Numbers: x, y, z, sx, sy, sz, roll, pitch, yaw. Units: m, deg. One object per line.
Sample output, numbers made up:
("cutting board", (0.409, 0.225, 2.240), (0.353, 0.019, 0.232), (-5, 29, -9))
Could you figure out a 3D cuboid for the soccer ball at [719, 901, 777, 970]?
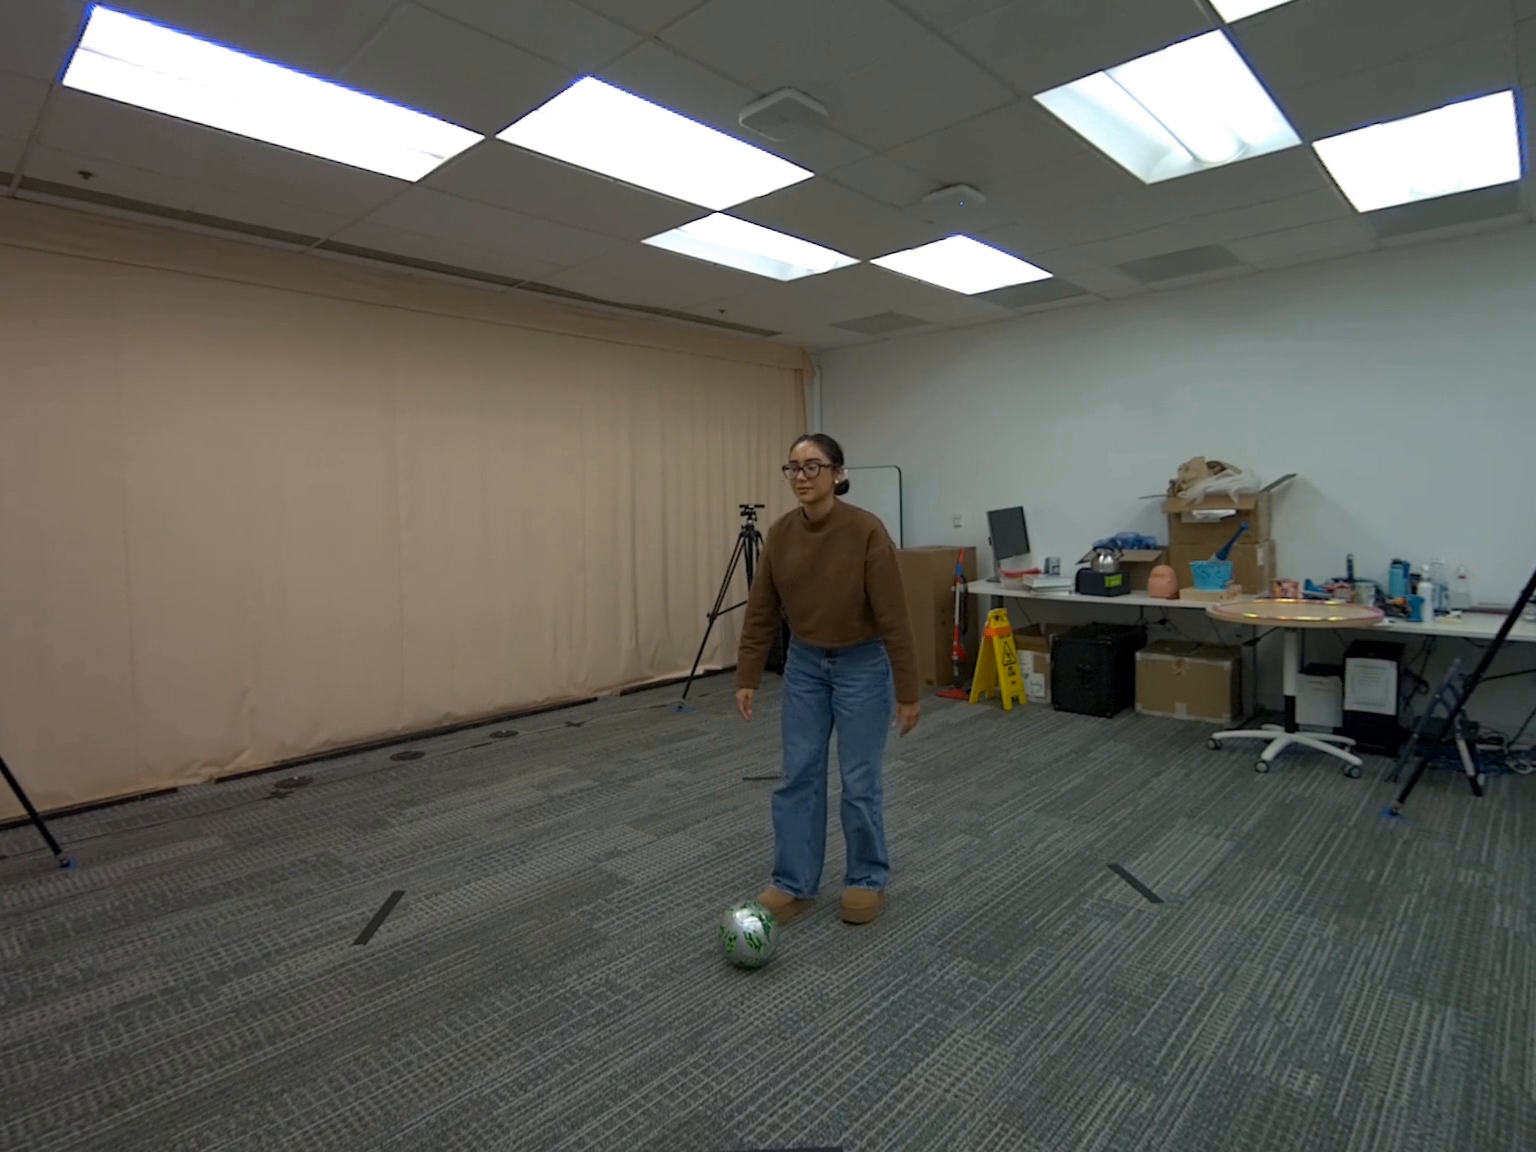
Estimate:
("soccer ball", (-0.054, 1.086, 2.552), (0.187, 0.187, 0.188), (-1, 4, -2))
